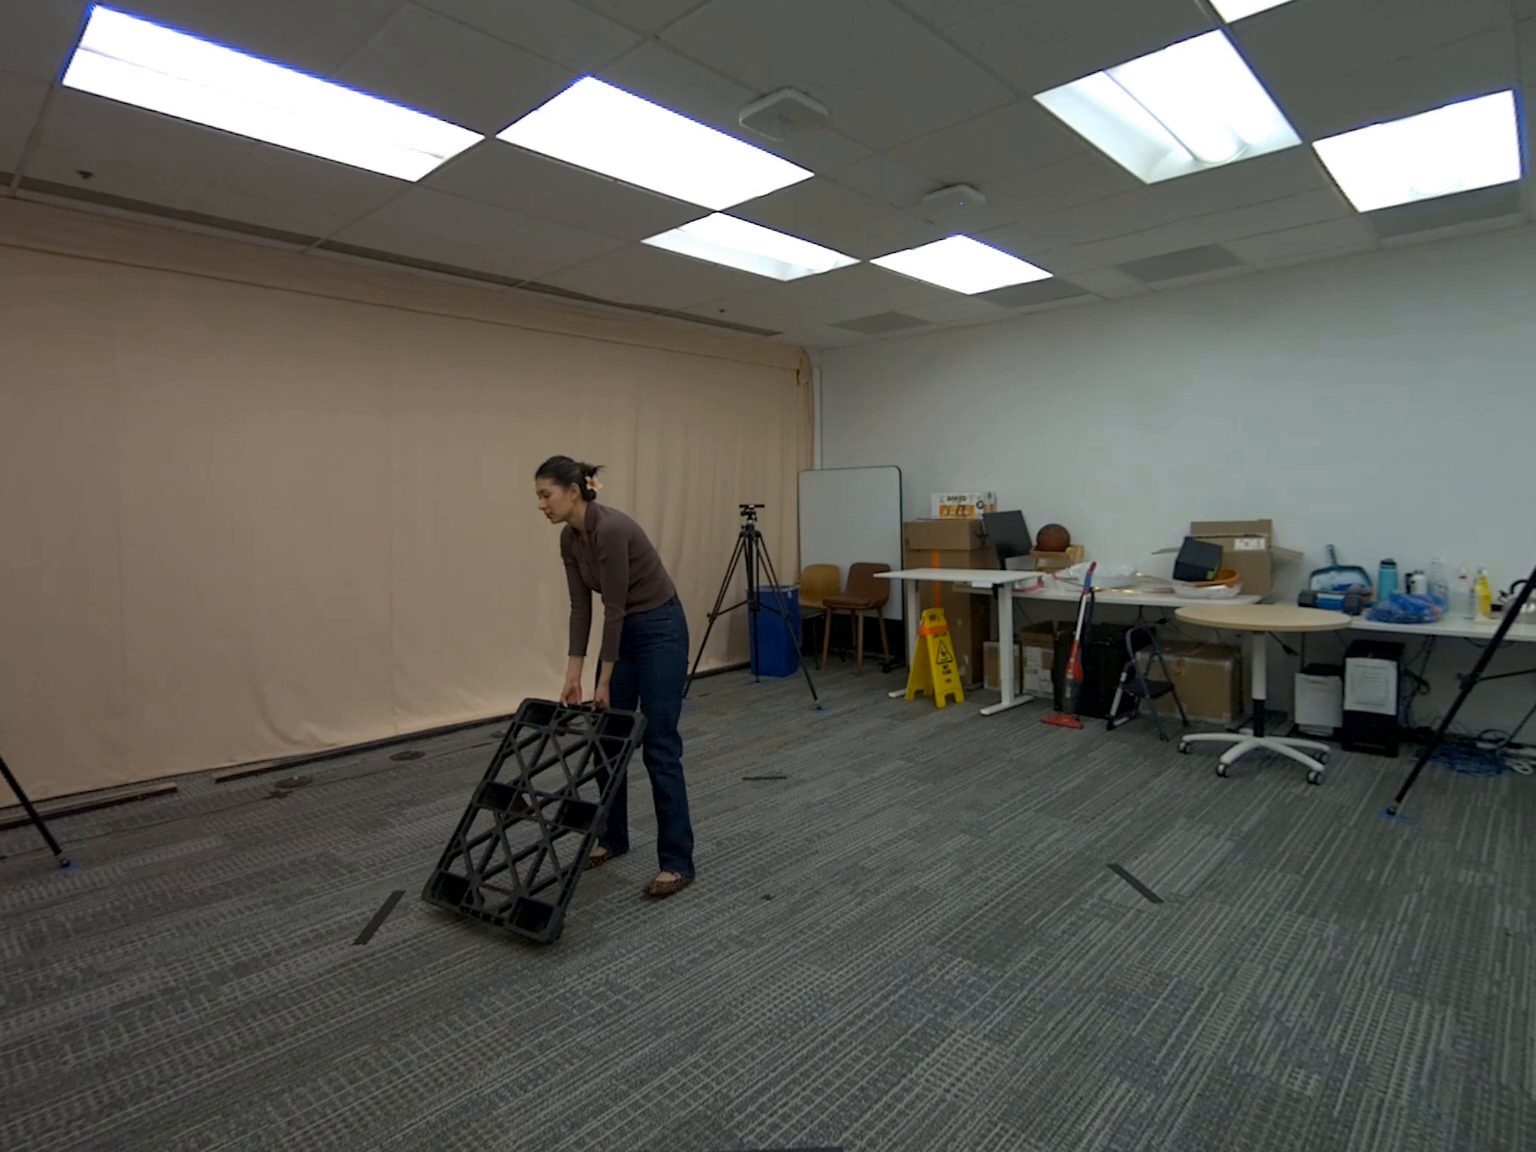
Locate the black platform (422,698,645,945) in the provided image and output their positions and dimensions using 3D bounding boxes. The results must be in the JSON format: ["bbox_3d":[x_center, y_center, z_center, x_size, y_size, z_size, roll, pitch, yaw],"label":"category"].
[{"bbox_3d":[-0.791,0.836,2.986,0.623,0.809,0.138,1,-36,30],"label":"black platform"}]
